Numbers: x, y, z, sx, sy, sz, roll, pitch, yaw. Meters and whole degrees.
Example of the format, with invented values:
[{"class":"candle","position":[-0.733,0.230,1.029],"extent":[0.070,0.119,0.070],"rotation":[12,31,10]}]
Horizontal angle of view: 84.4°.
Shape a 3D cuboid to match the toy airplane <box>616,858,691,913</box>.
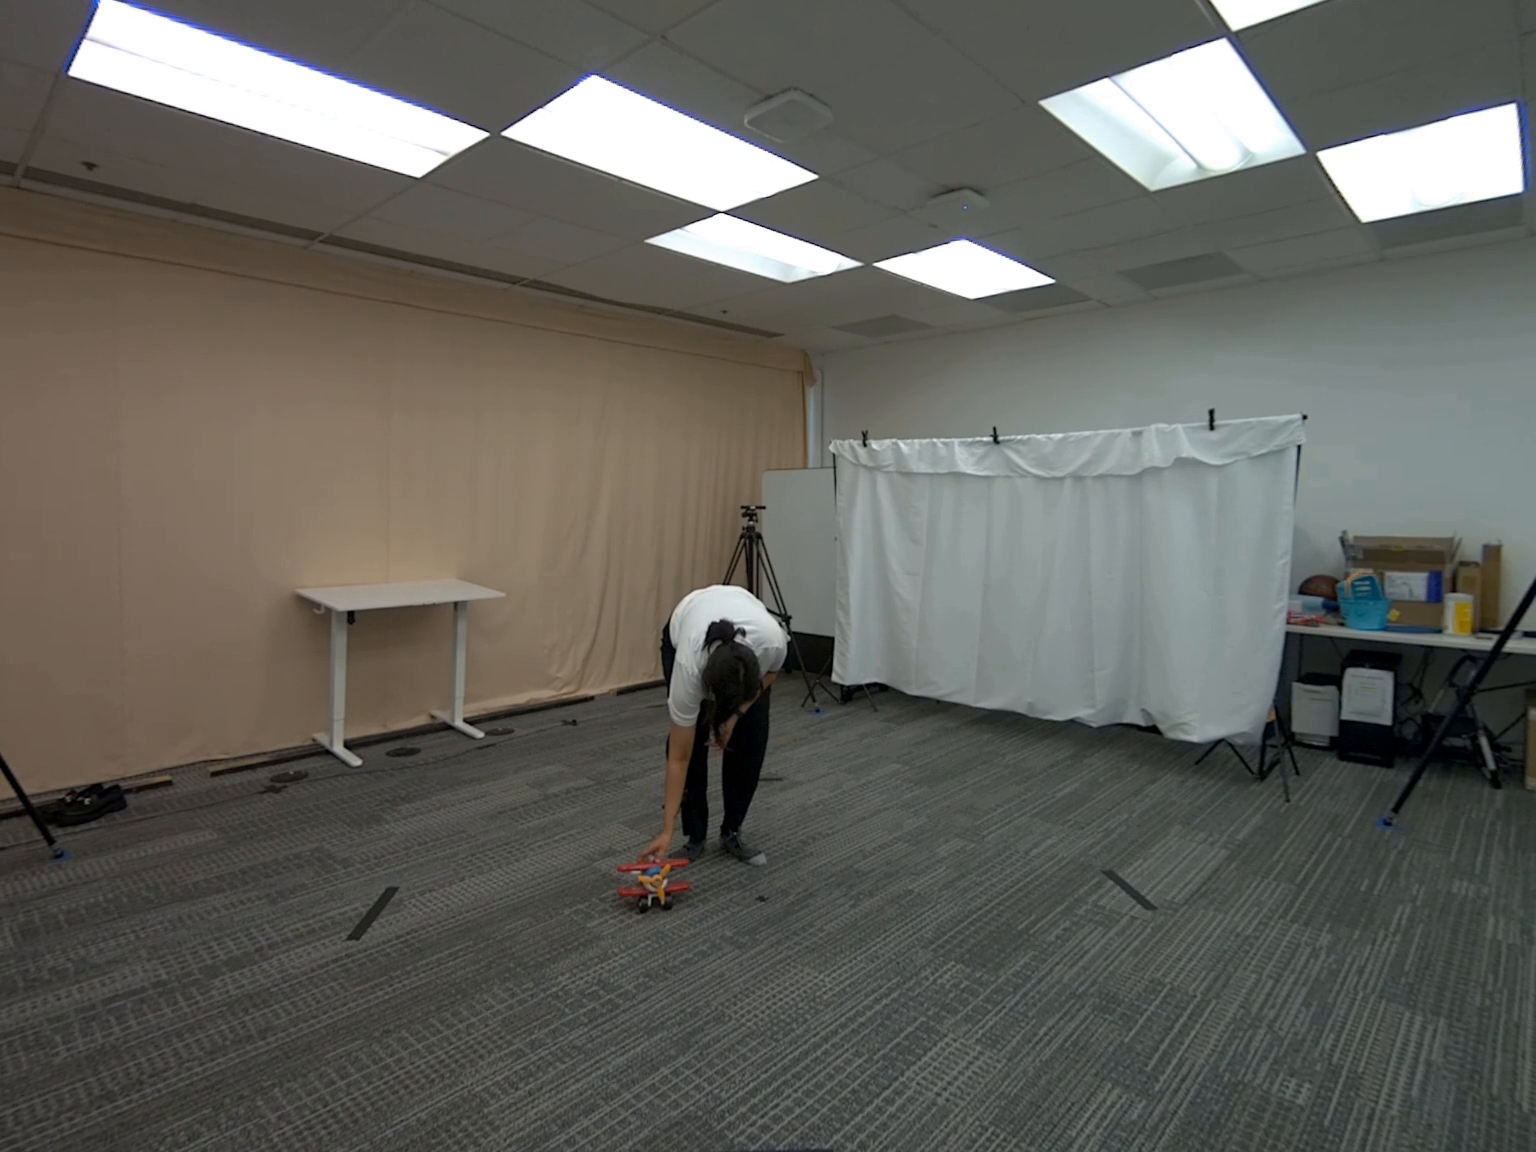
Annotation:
[{"class":"toy airplane","position":[-0.426,1.074,2.979],"extent":[0.243,0.156,0.268],"rotation":[-6,7,-41]}]
